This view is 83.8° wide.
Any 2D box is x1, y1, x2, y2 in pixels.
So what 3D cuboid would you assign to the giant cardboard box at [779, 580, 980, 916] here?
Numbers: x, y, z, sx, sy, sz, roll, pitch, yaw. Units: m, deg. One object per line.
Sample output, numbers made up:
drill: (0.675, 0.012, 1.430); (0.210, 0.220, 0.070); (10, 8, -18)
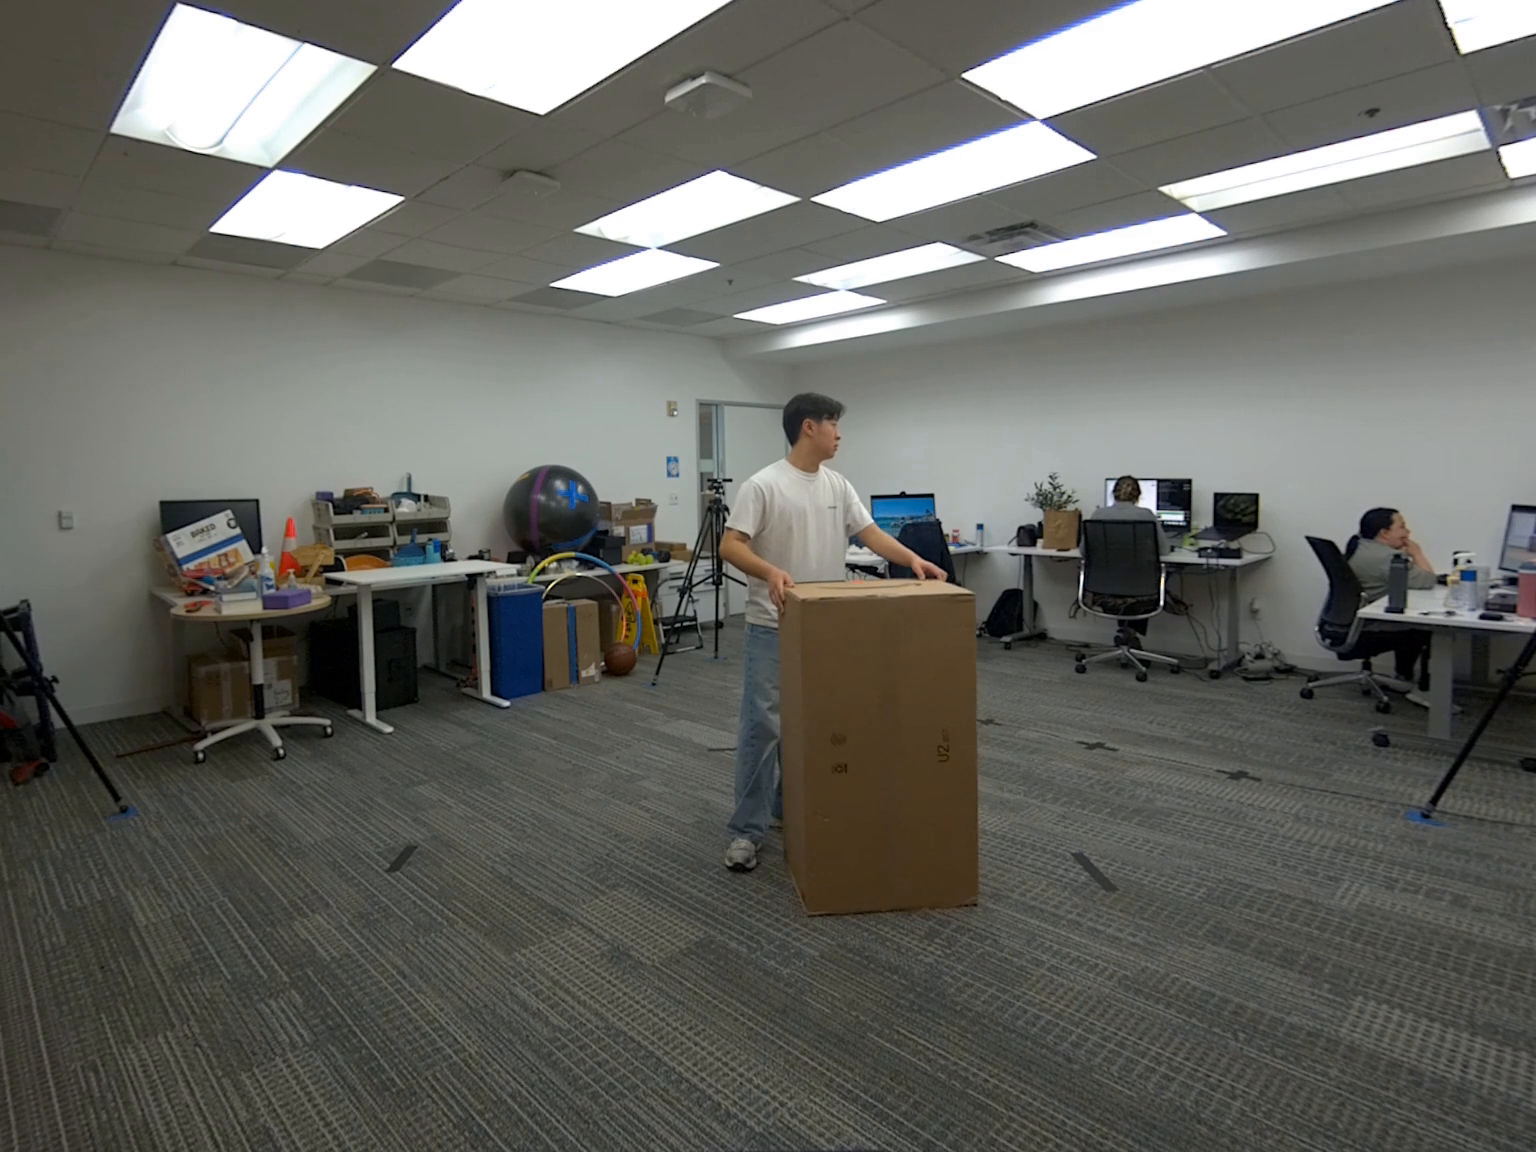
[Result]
giant cardboard box: (0.368, 0.548, 2.920); (0.575, 1.022, 0.430); (-2, 4, -6)
